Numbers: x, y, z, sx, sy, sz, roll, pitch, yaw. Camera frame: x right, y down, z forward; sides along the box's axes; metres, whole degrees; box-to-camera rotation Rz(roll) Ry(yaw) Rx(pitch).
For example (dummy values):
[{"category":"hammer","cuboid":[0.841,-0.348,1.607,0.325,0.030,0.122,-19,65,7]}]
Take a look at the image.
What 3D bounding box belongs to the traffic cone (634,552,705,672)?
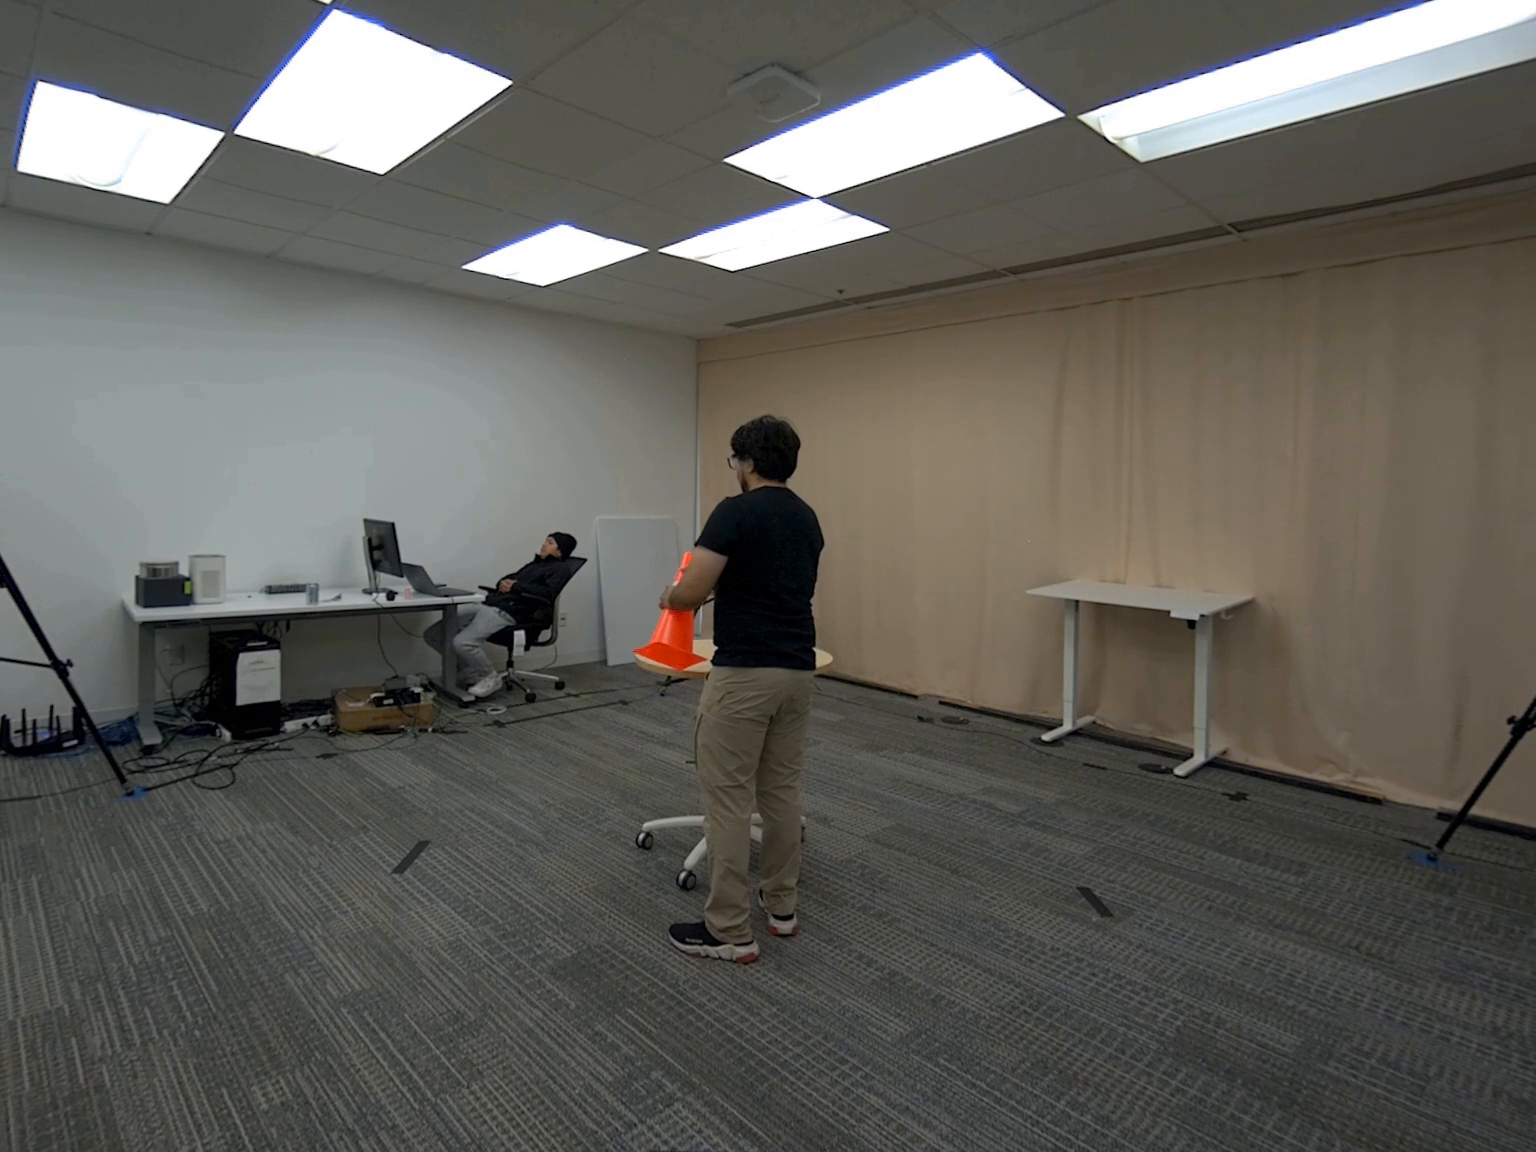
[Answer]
[{"category":"traffic cone","cuboid":[-0.309,0.105,2.875,0.199,0.389,0.207,21,-27,-26]}]
